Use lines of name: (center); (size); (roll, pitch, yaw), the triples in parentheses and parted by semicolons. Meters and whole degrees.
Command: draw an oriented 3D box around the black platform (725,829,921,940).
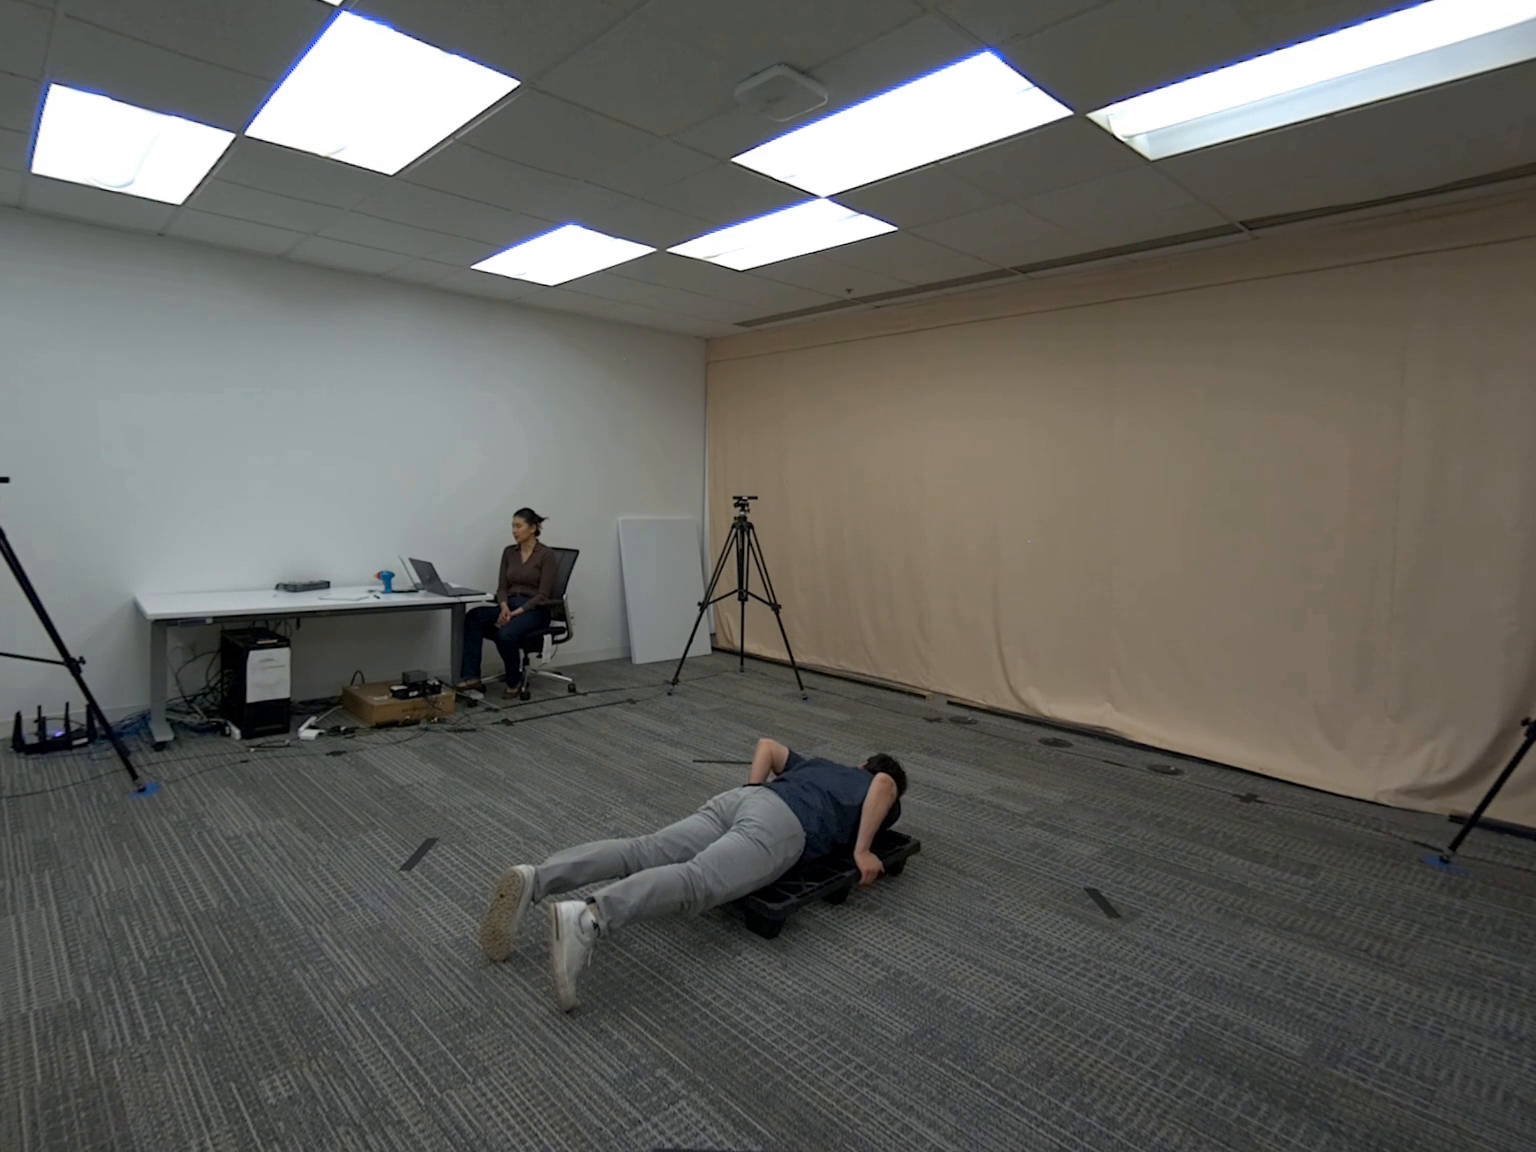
black platform: (0.083, 1.055, 3.057); (0.620, 0.143, 0.787); (4, 6, 44)
